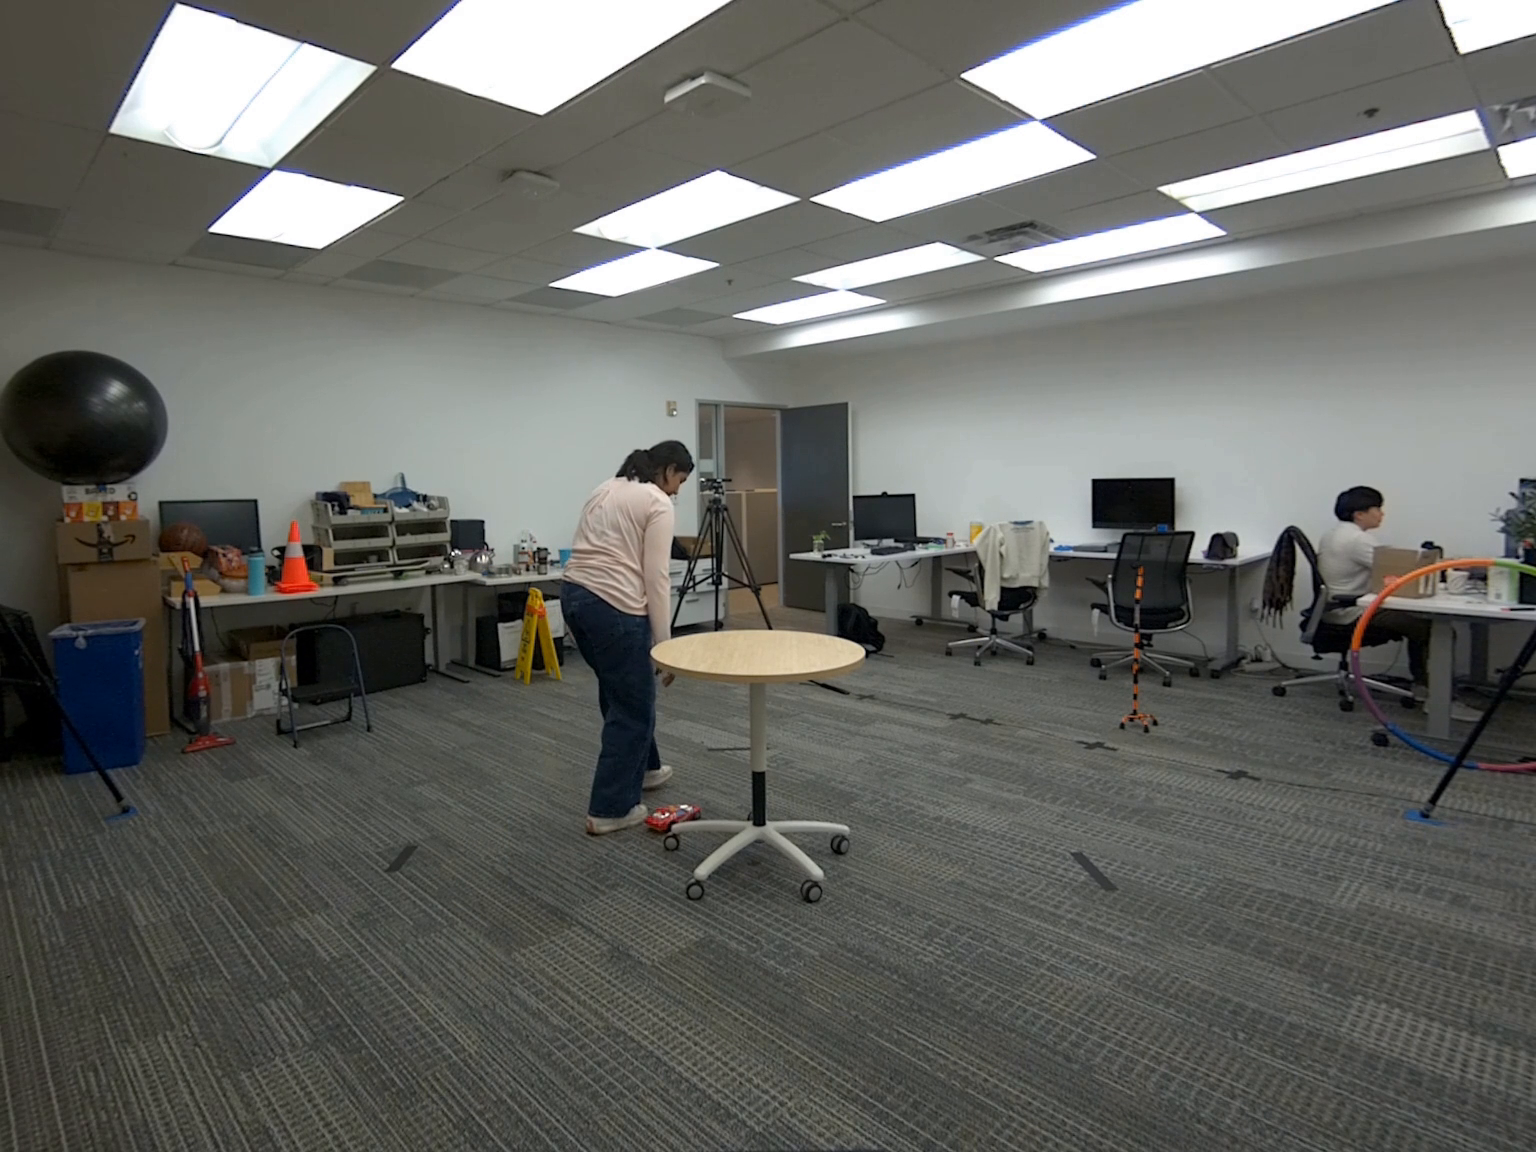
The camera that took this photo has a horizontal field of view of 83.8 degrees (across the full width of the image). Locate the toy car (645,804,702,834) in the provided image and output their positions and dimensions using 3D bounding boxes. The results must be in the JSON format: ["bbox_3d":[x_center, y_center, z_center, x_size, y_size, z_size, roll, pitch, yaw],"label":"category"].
[{"bbox_3d":[-0.392,0.975,3.458,0.134,0.083,0.246,4,-3,43],"label":"toy car"}]
